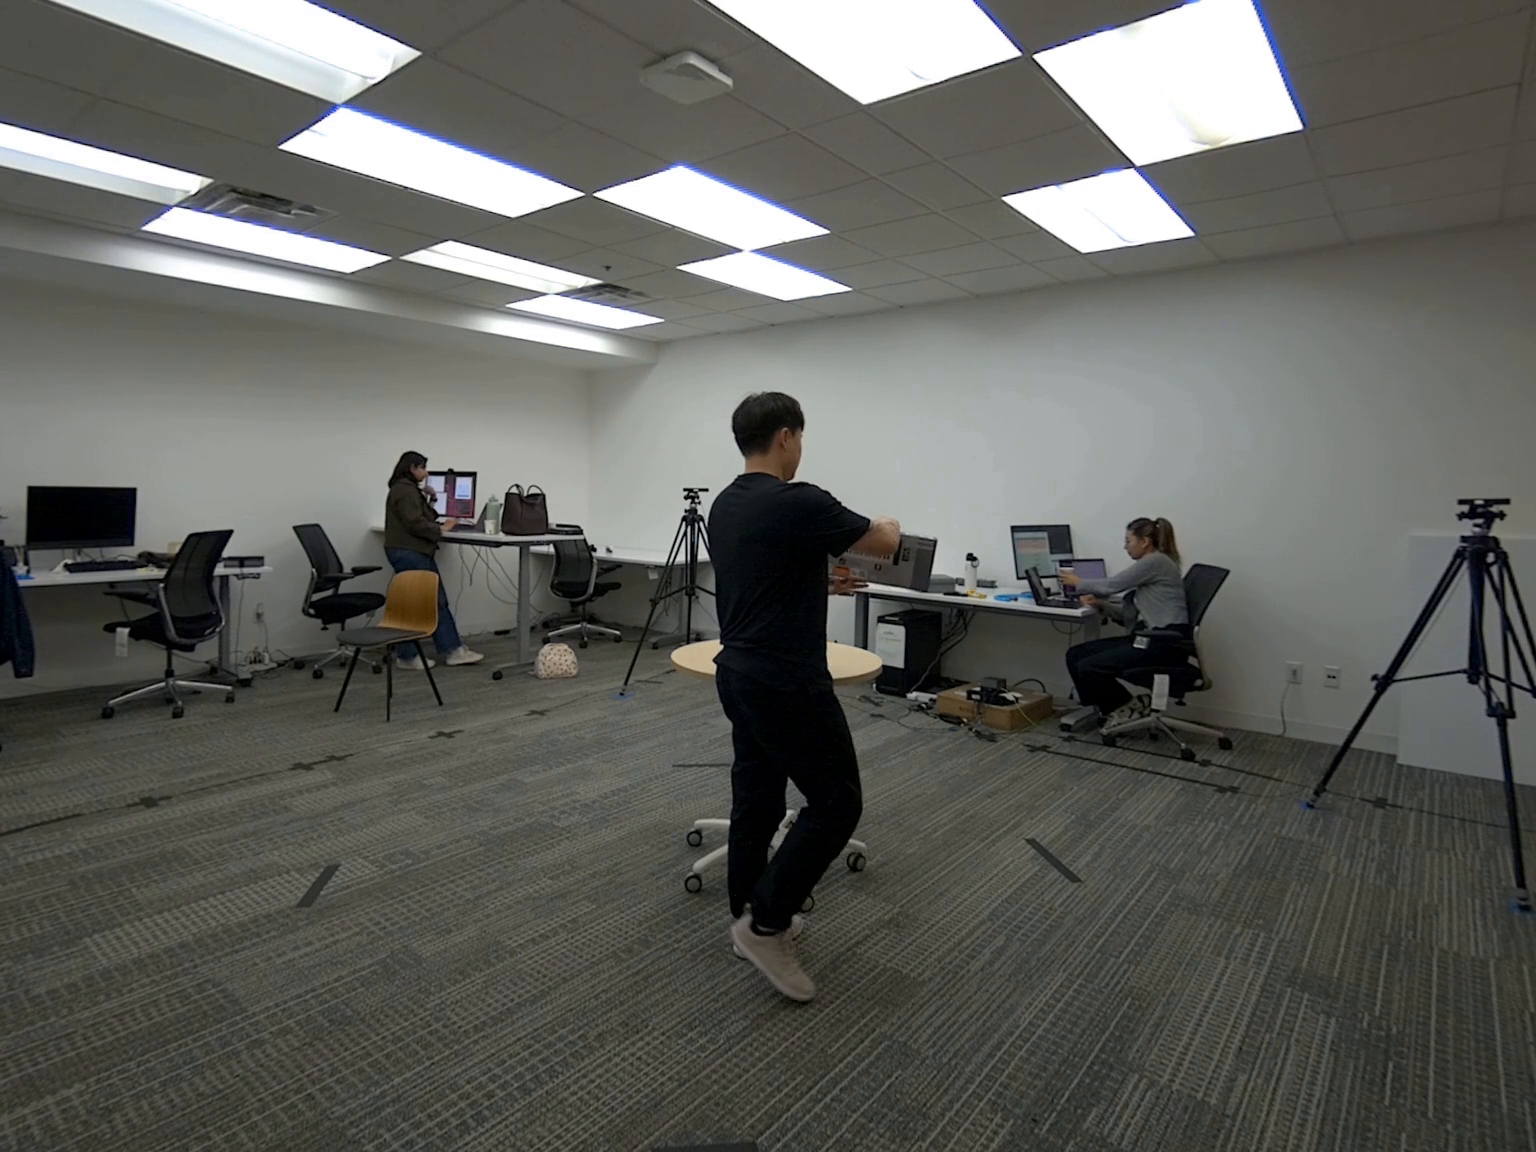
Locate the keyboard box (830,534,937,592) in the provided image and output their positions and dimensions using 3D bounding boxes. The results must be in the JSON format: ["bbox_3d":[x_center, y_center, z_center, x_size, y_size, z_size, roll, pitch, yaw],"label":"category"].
[{"bbox_3d":[0.306,-0.069,2.747,0.443,0.174,0.059,10,11,12],"label":"keyboard box"}]
